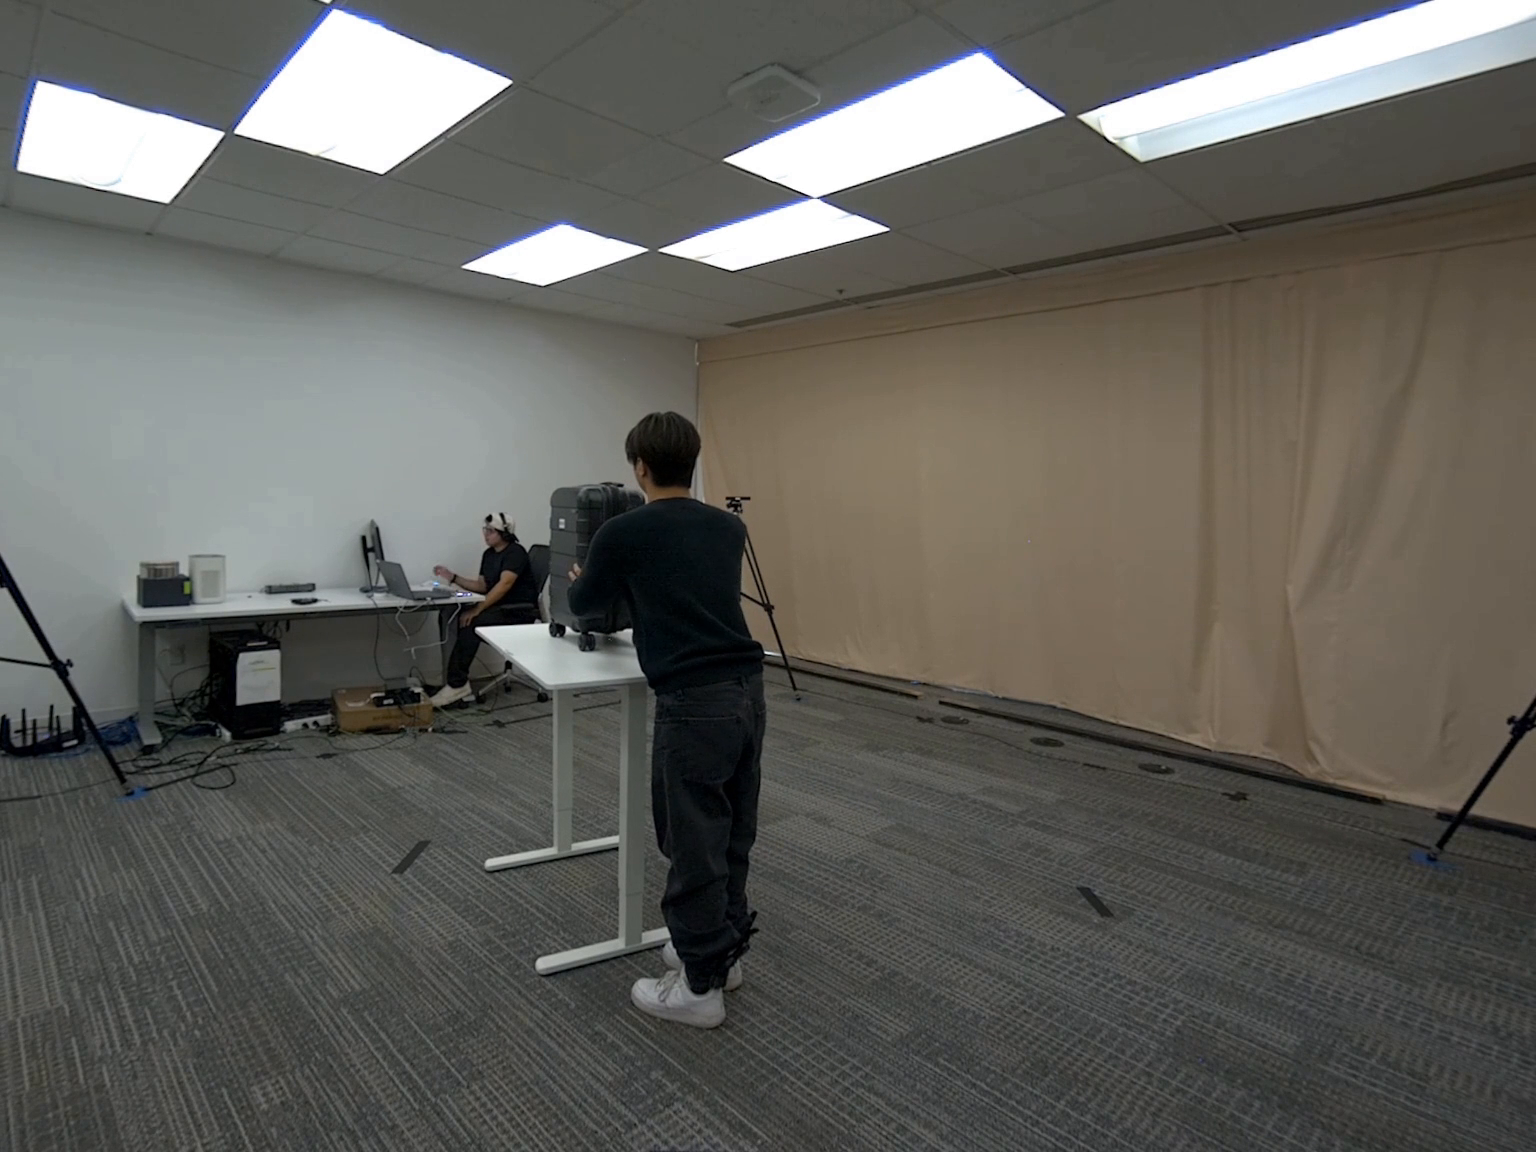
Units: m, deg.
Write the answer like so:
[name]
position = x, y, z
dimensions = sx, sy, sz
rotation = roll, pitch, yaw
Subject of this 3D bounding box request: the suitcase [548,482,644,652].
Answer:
[suitcase]
position = -0.599, -0.050, 2.936
dimensions = 0.243, 0.547, 0.384
rotation = -2, 5, -31
